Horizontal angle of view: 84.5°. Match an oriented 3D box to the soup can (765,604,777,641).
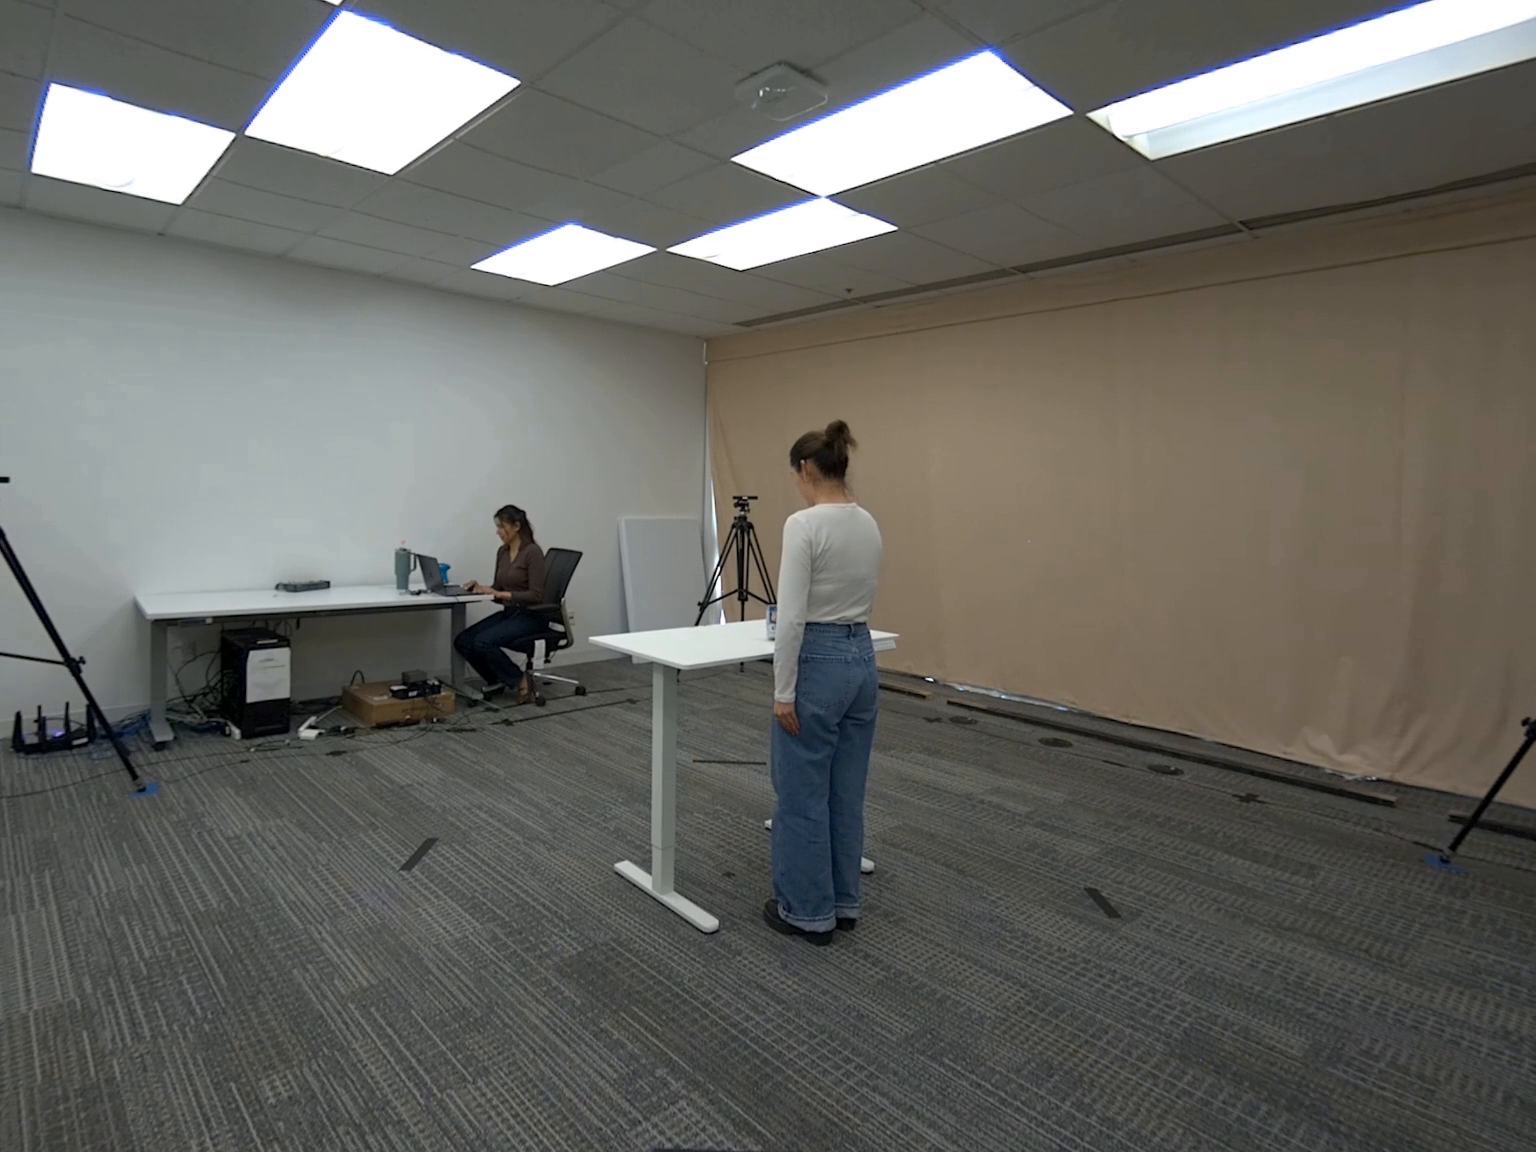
[{"bbox_3d":[0.029,0.162,3.036,0.067,0.122,0.067,0,-5,-1],"label":"soup can"}]
